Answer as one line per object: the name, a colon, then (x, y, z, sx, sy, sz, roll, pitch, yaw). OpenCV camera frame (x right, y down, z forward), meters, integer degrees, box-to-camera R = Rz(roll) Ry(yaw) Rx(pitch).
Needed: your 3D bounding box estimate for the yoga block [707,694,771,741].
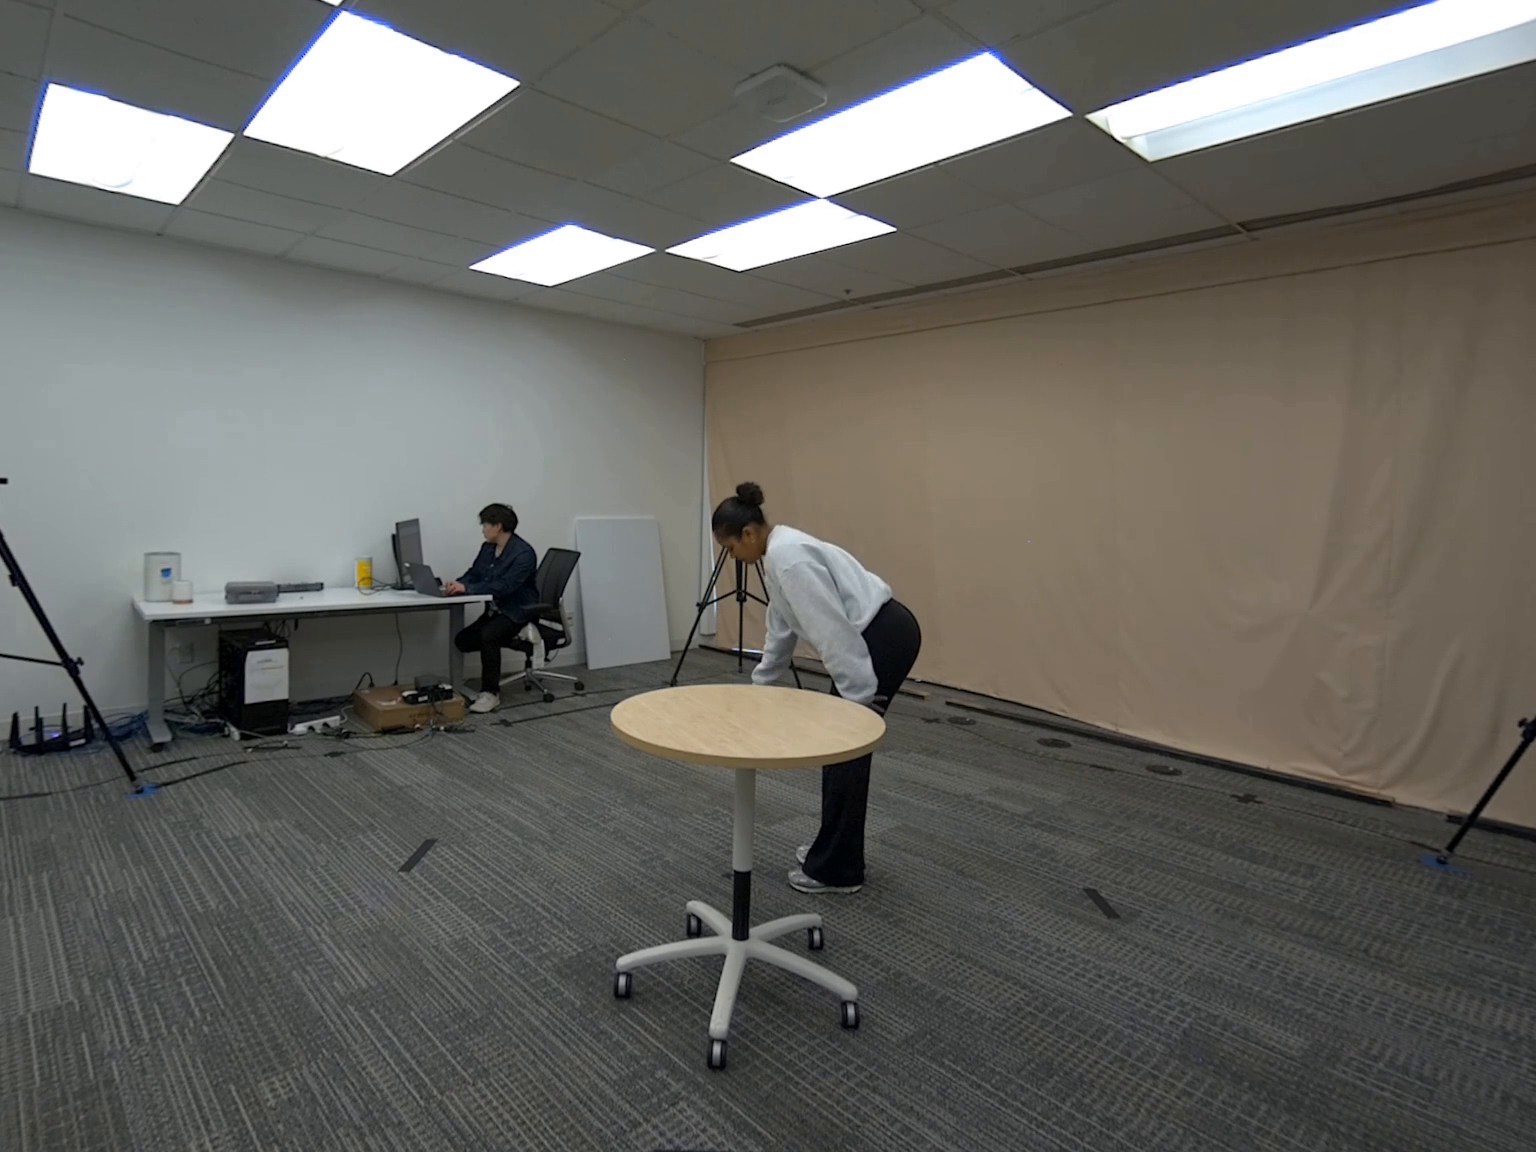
yoga block: (-0.119, 0.566, 3.405, 0.232, 0.150, 0.075, 4, -8, 16)
